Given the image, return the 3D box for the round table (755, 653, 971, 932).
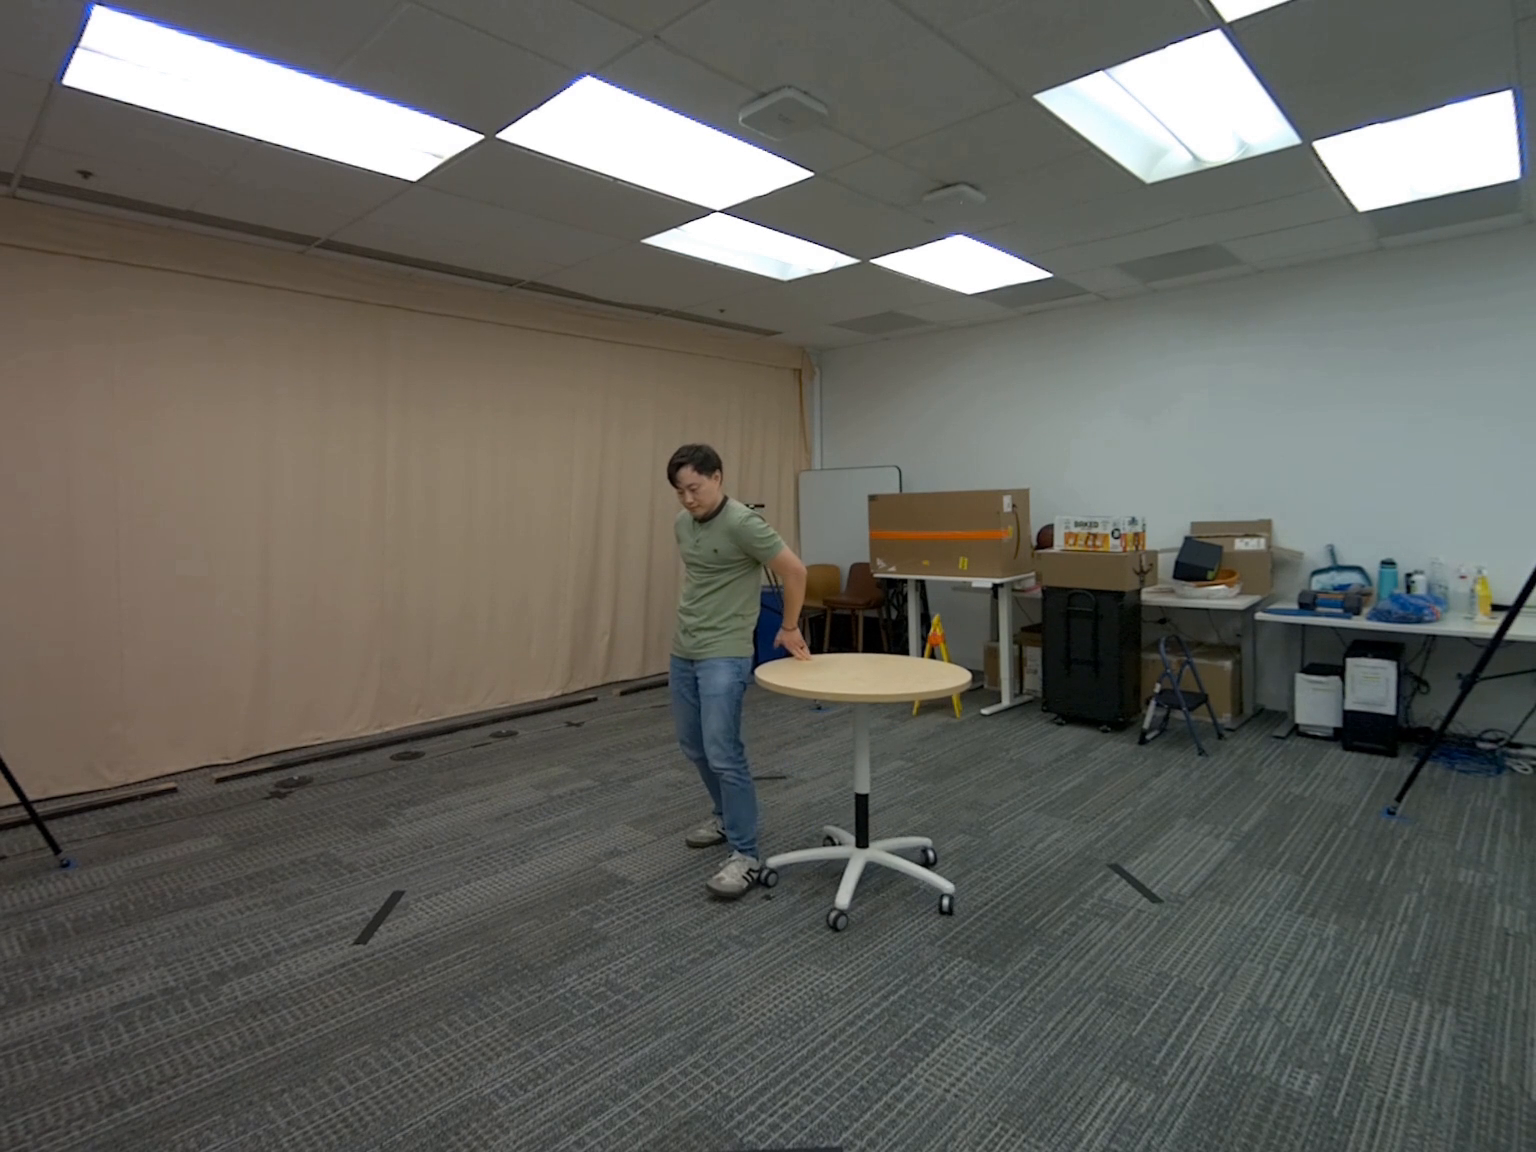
[{"bbox_3d":[0.341,0.738,3.051,0.763,0.792,0.766,-1,3,-2],"label":"round table"}]
